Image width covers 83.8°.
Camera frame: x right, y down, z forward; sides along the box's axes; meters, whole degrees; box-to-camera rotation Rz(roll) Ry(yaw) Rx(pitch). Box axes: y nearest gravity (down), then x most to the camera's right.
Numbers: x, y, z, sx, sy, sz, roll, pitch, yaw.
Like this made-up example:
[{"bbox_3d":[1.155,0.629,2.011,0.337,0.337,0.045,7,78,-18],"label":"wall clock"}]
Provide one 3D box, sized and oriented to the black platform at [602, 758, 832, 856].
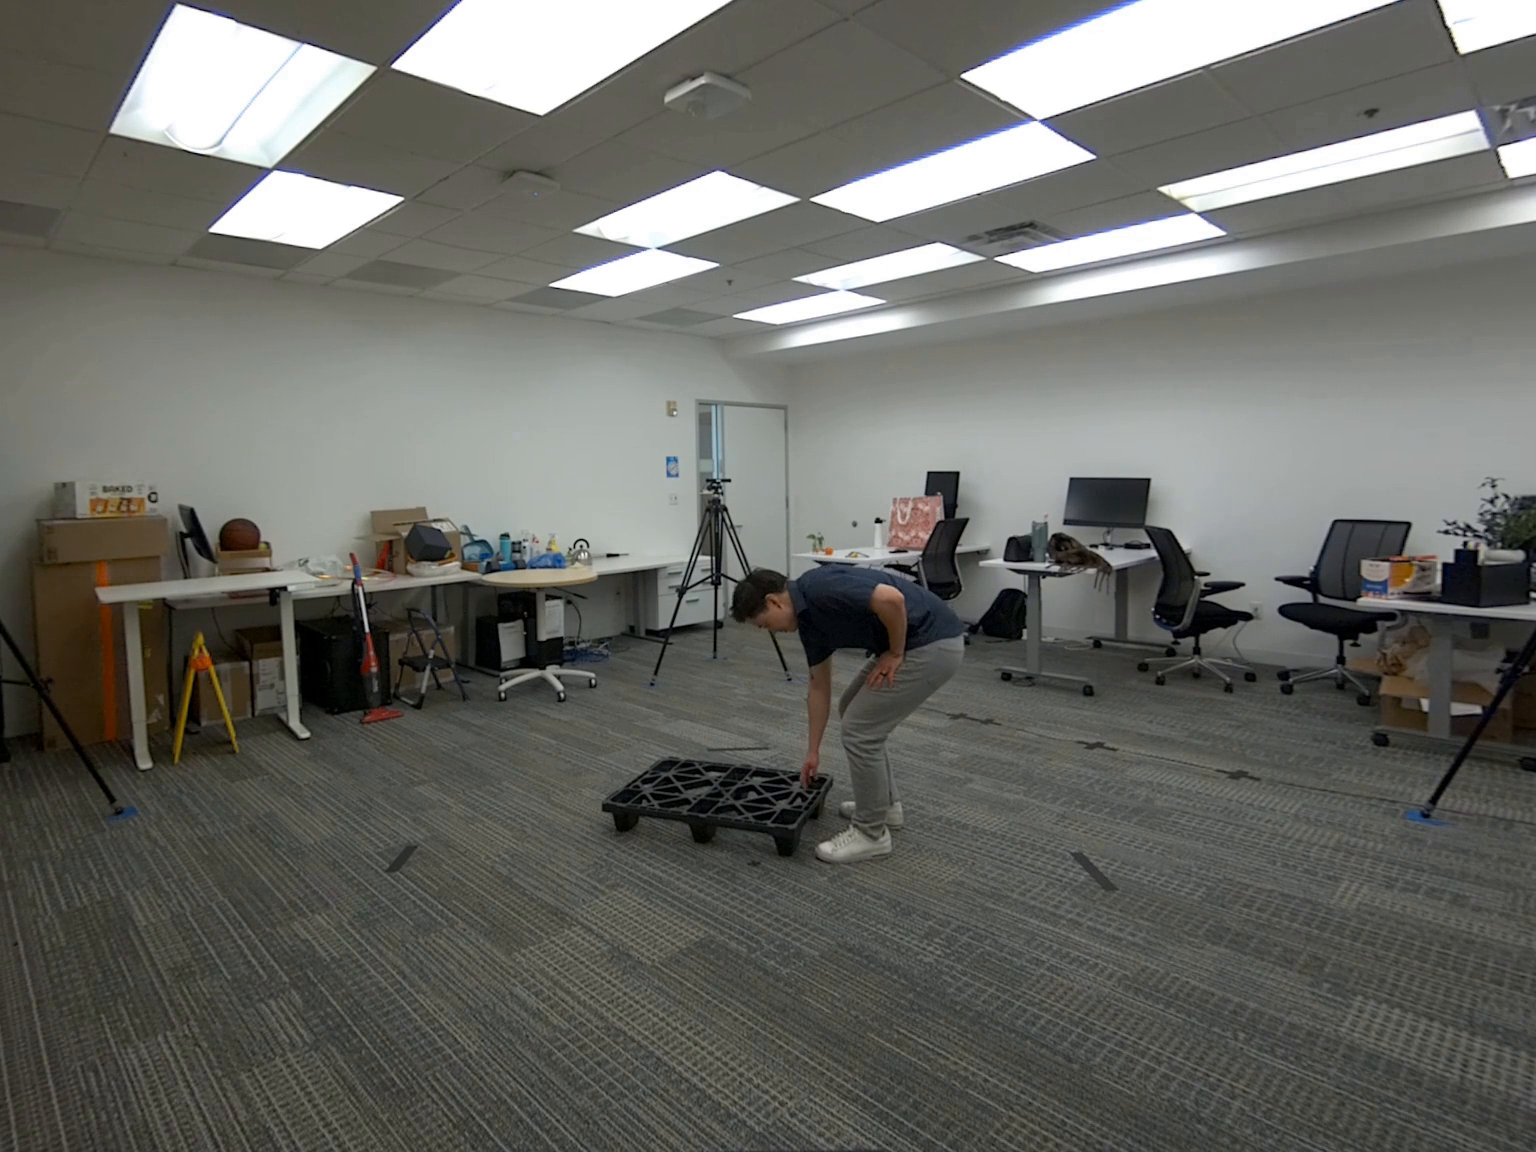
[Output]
[{"bbox_3d":[-0.189,0.933,3.500,0.822,0.143,0.596,2,6,20],"label":"black platform"}]
